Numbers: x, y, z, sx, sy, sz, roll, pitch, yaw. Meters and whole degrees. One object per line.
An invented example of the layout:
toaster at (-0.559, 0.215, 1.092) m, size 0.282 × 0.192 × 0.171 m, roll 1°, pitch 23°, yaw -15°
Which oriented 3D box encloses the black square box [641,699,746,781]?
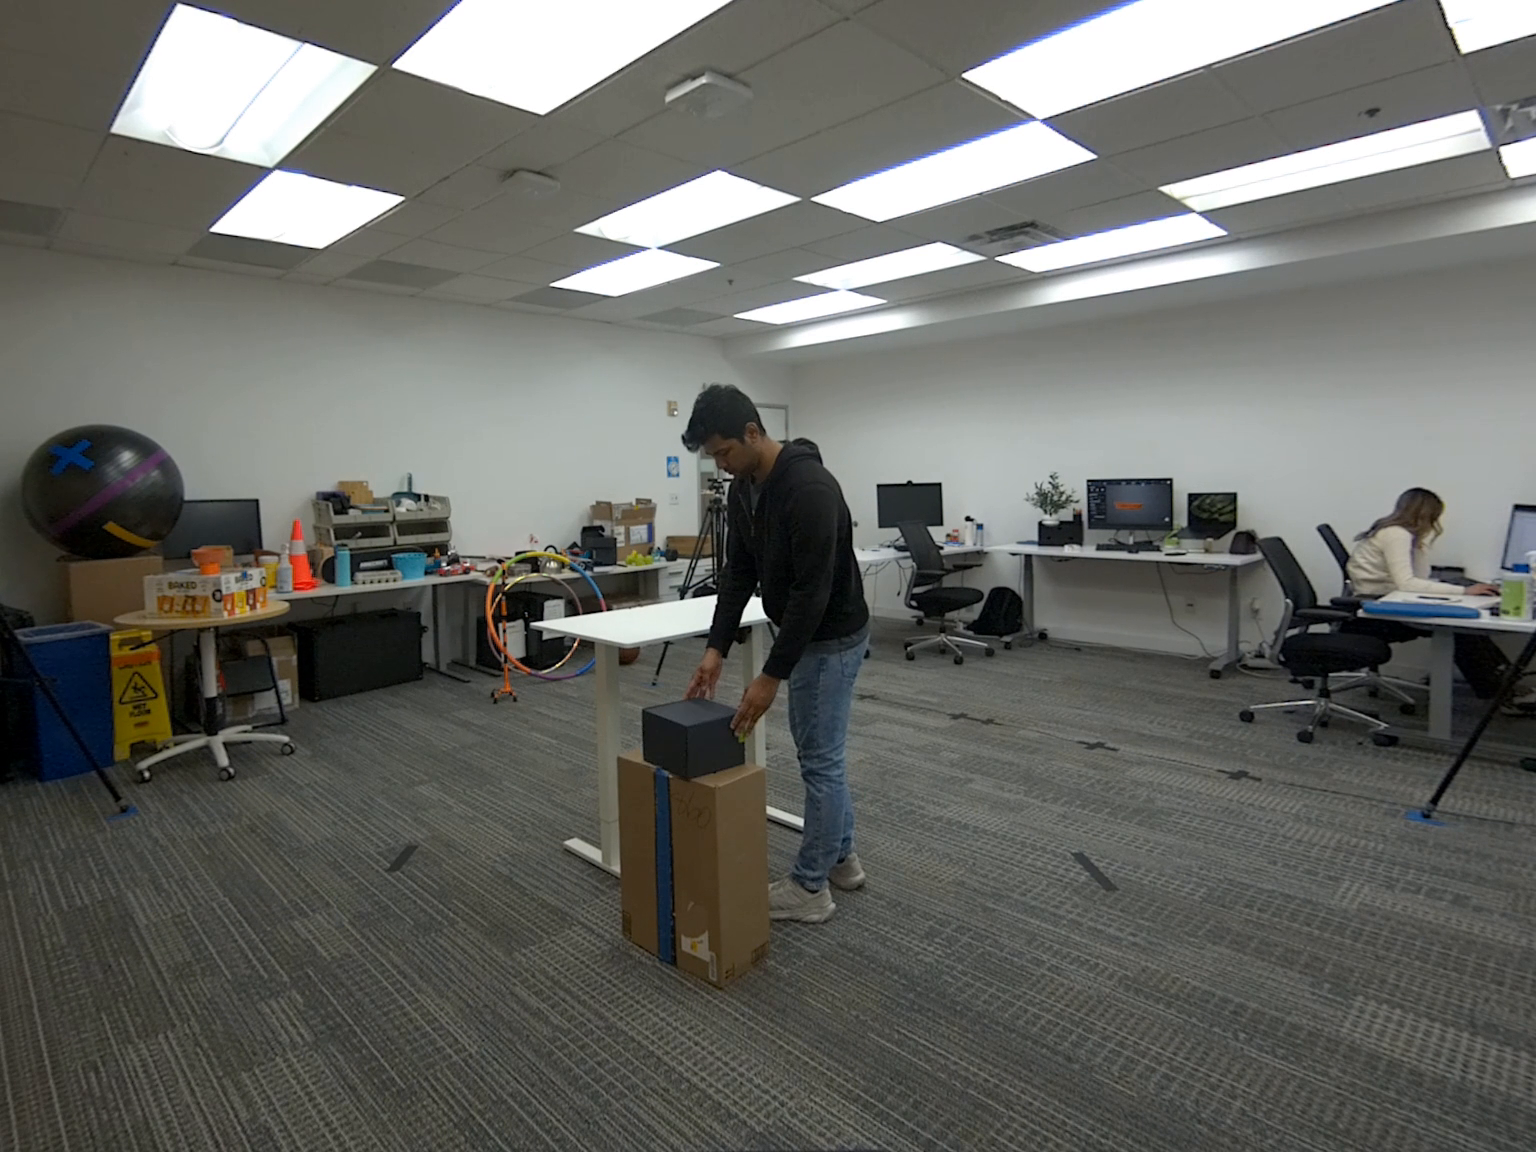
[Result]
black square box at (-0.216, 0.468, 2.518) m, size 0.211 × 0.155 × 0.235 m, roll -7°, pitch 8°, yaw -39°
